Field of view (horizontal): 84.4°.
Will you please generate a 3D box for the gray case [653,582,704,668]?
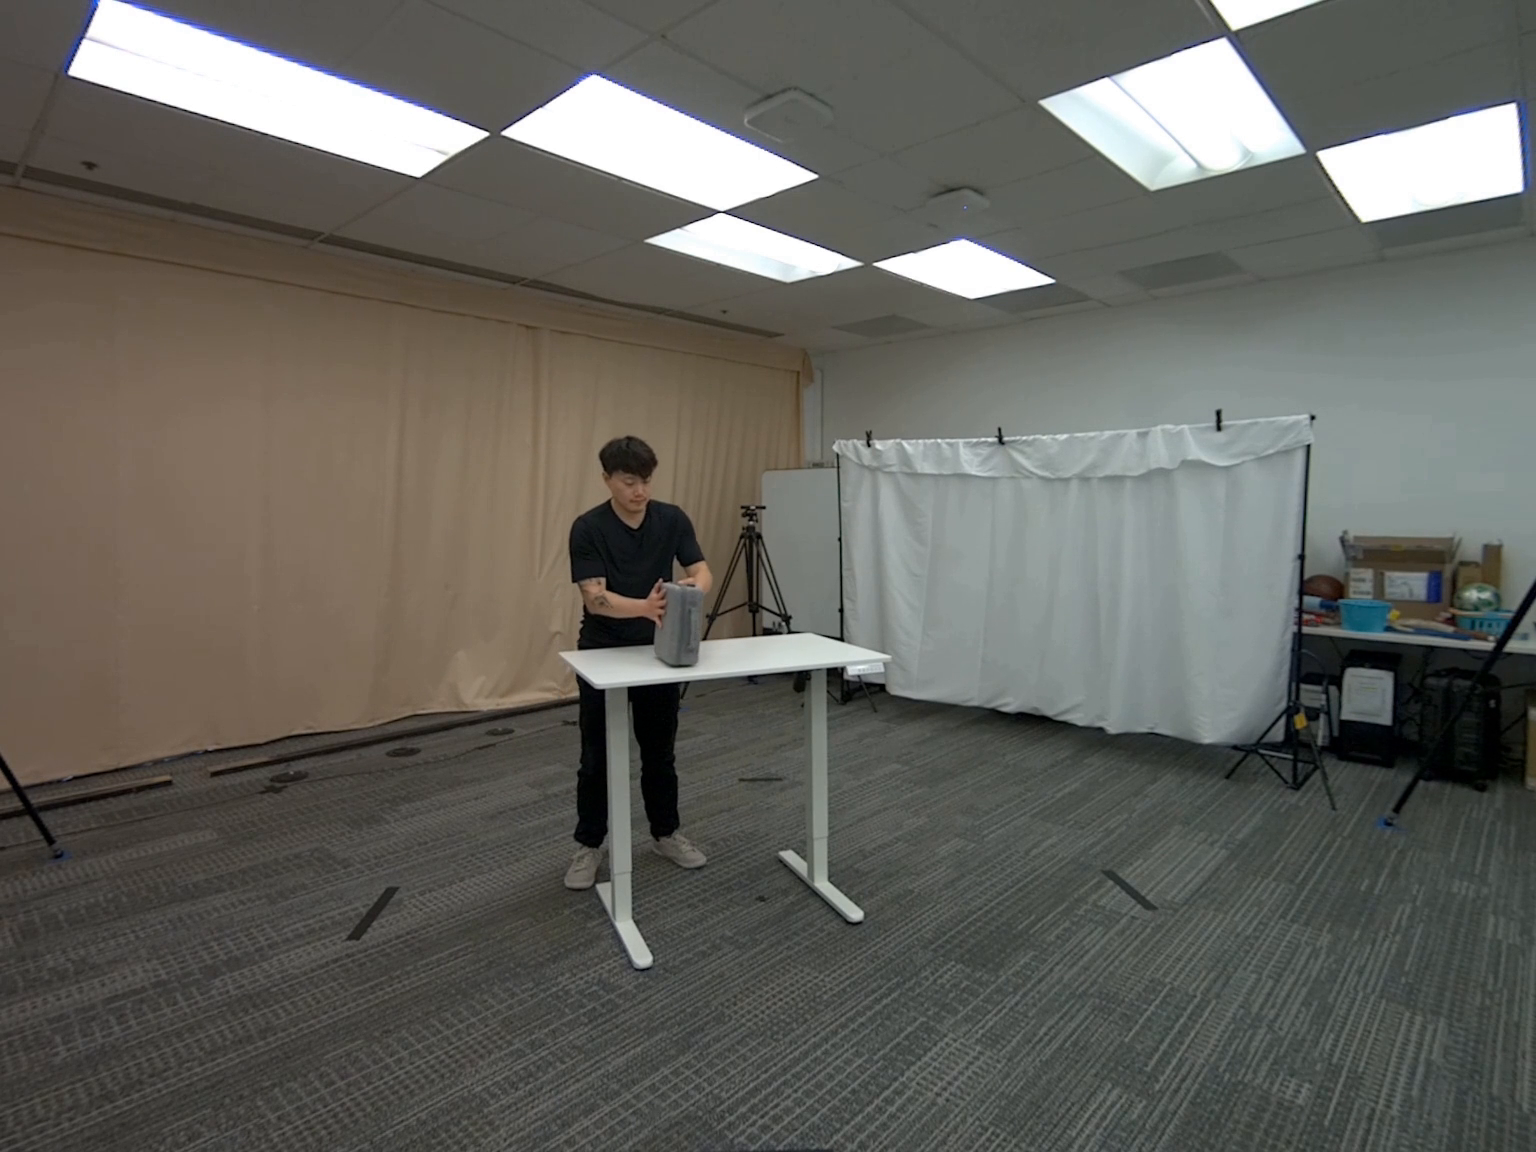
[{"bbox_3d":[-0.292,0.152,2.759,0.102,0.257,0.265,5,2,-16],"label":"gray case"}]
